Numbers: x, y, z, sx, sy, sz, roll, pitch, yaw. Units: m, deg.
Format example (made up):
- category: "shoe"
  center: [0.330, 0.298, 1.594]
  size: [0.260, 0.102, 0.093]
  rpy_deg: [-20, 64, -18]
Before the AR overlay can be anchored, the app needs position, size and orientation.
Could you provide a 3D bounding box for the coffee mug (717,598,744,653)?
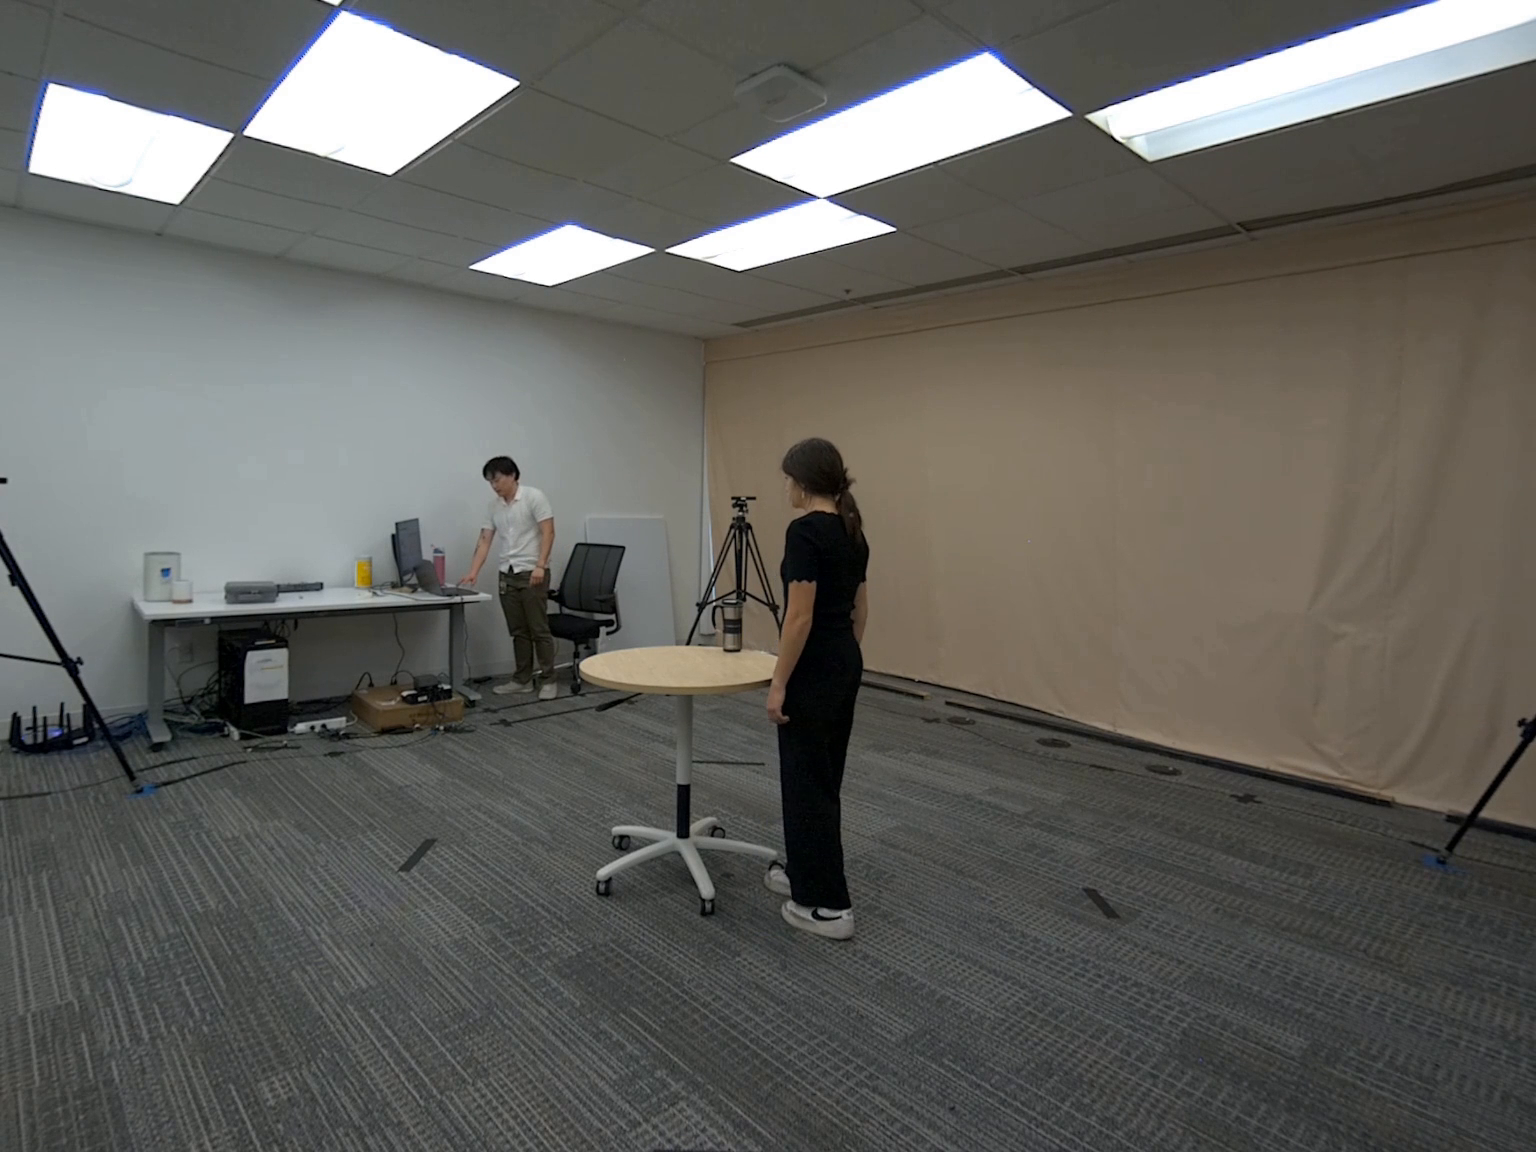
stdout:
- category: "coffee mug"
  center: [-0.168, 0.197, 3.351]
  size: [0.125, 0.202, 0.086]
  rpy_deg: [6, 8, 32]
